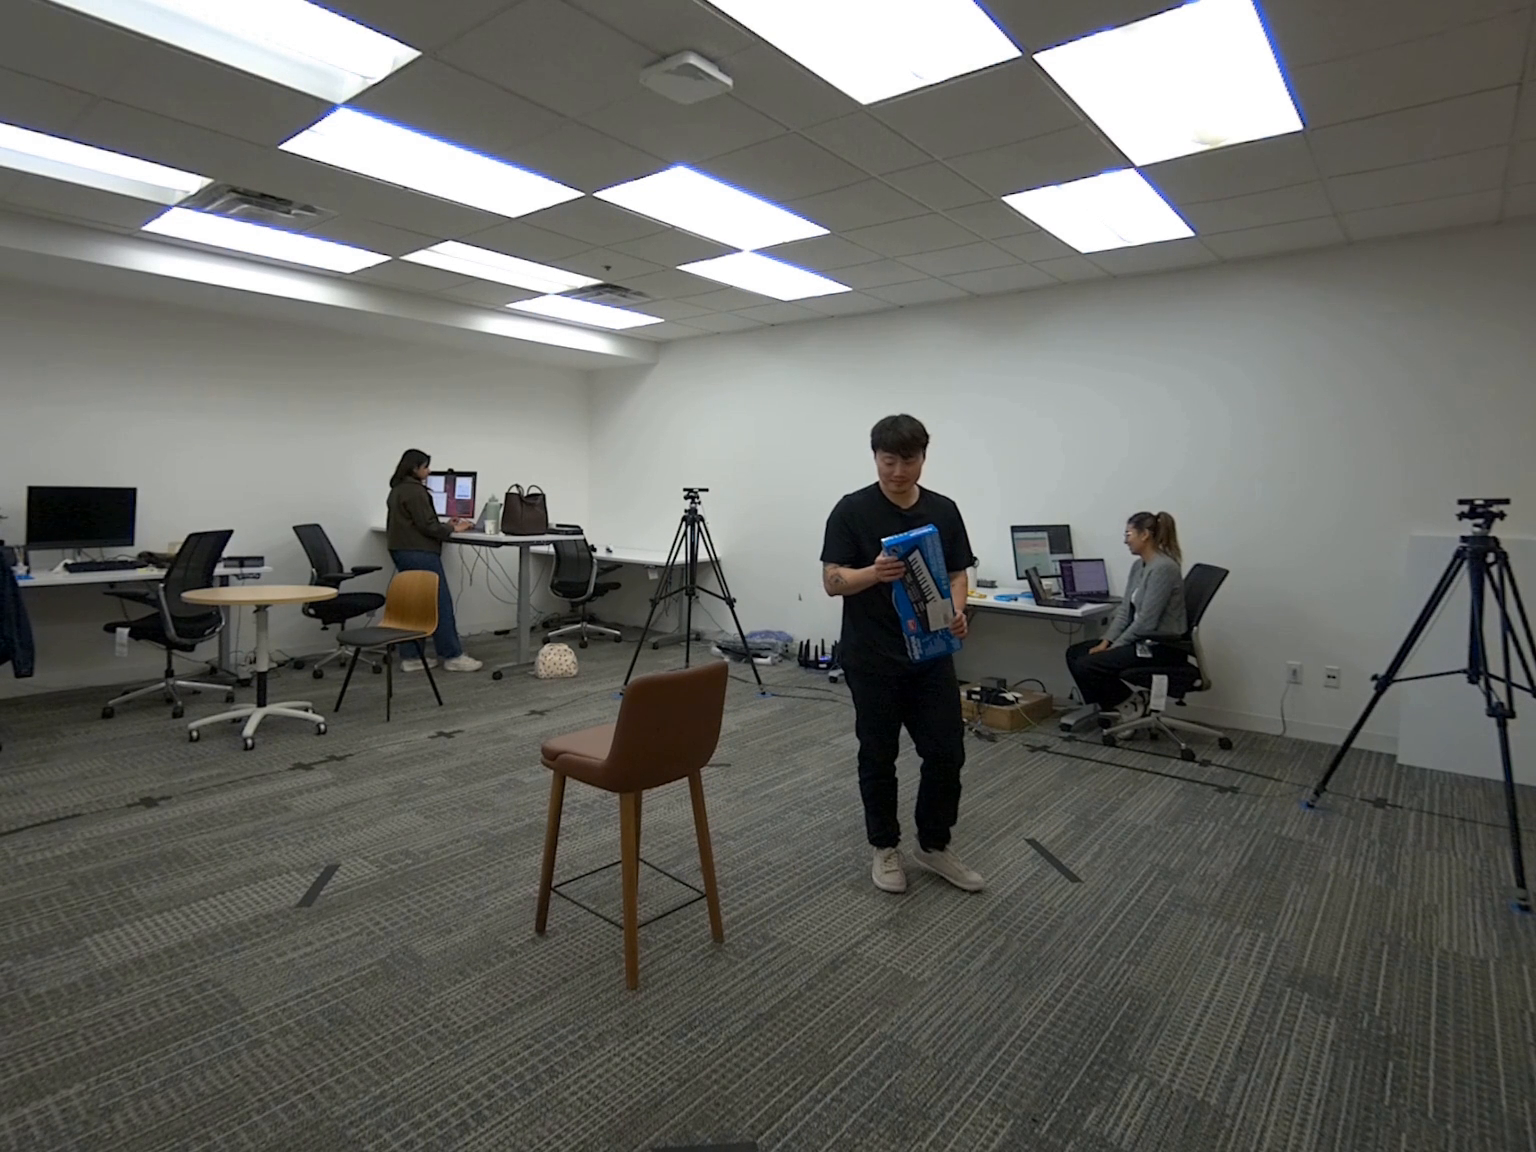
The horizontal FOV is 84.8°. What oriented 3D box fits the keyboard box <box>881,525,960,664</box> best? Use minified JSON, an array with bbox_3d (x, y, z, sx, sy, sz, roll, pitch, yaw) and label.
[{"bbox_3d":[0.498,0.057,2.752,0.176,0.427,0.060,-16,20,2],"label":"keyboard box"}]
